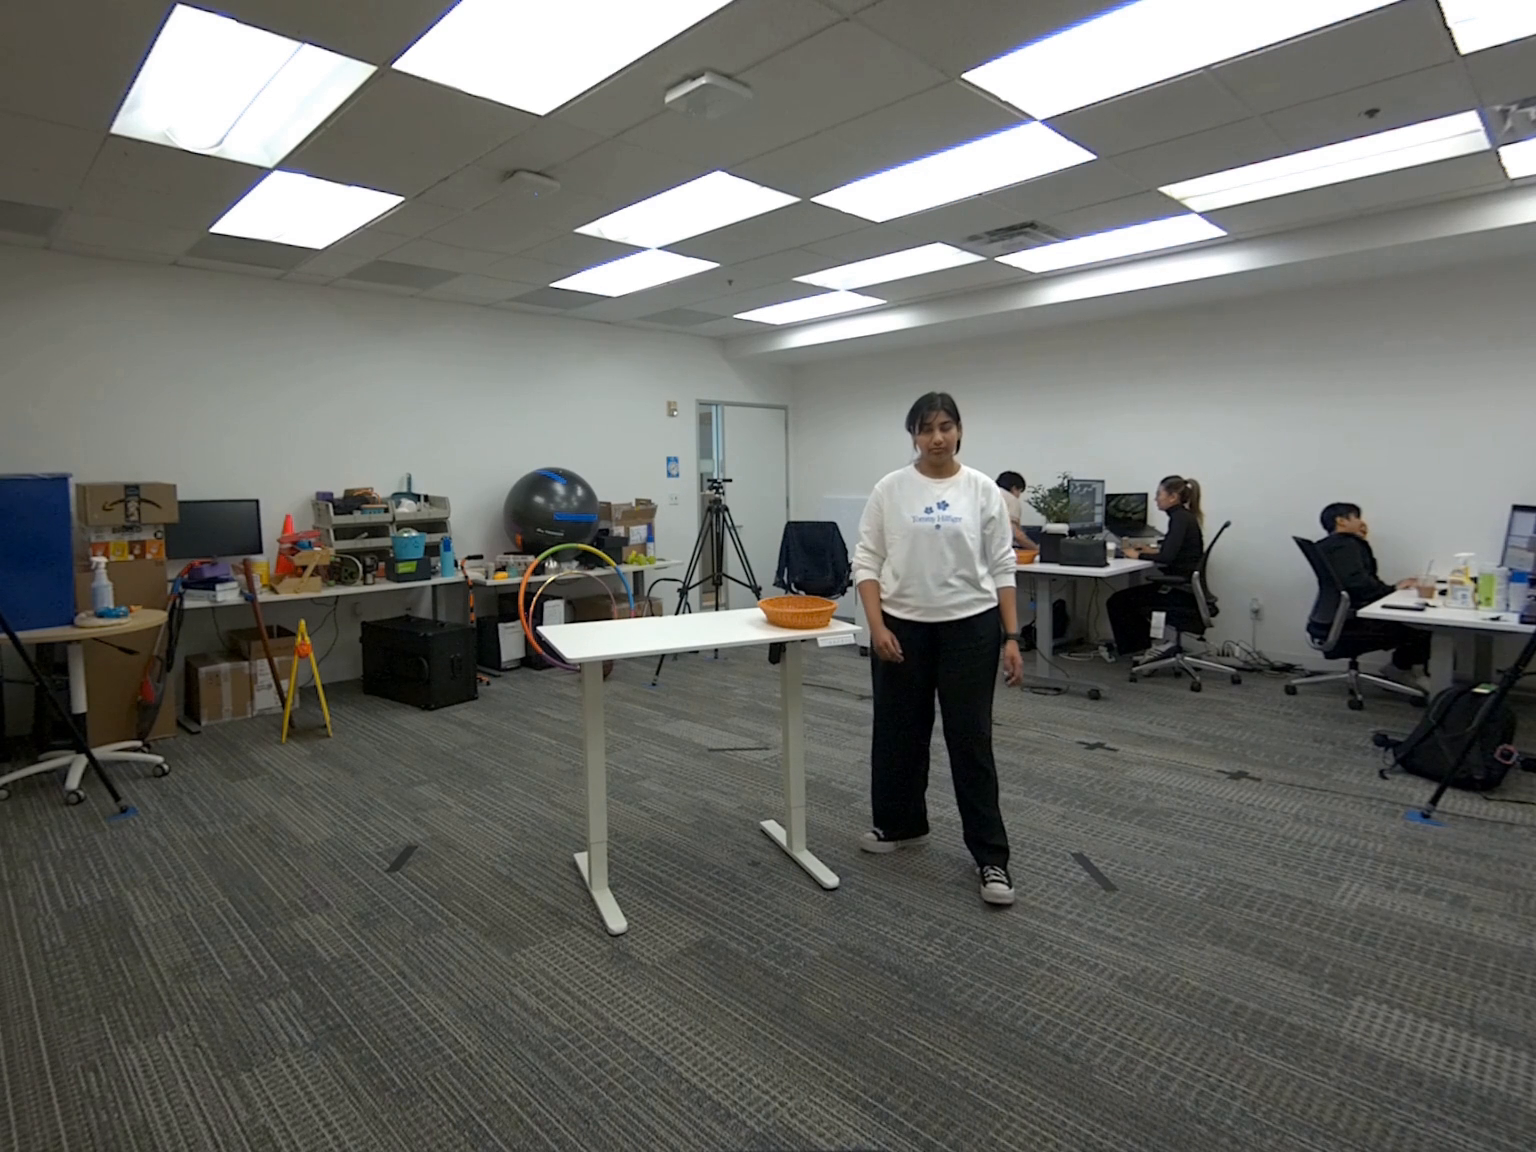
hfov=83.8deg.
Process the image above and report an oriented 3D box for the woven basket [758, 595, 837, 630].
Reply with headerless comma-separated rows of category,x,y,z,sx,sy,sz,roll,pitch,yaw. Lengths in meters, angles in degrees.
woven basket,0.119,0.132,3.042,0.249,0.073,0.357,-5,7,-14
